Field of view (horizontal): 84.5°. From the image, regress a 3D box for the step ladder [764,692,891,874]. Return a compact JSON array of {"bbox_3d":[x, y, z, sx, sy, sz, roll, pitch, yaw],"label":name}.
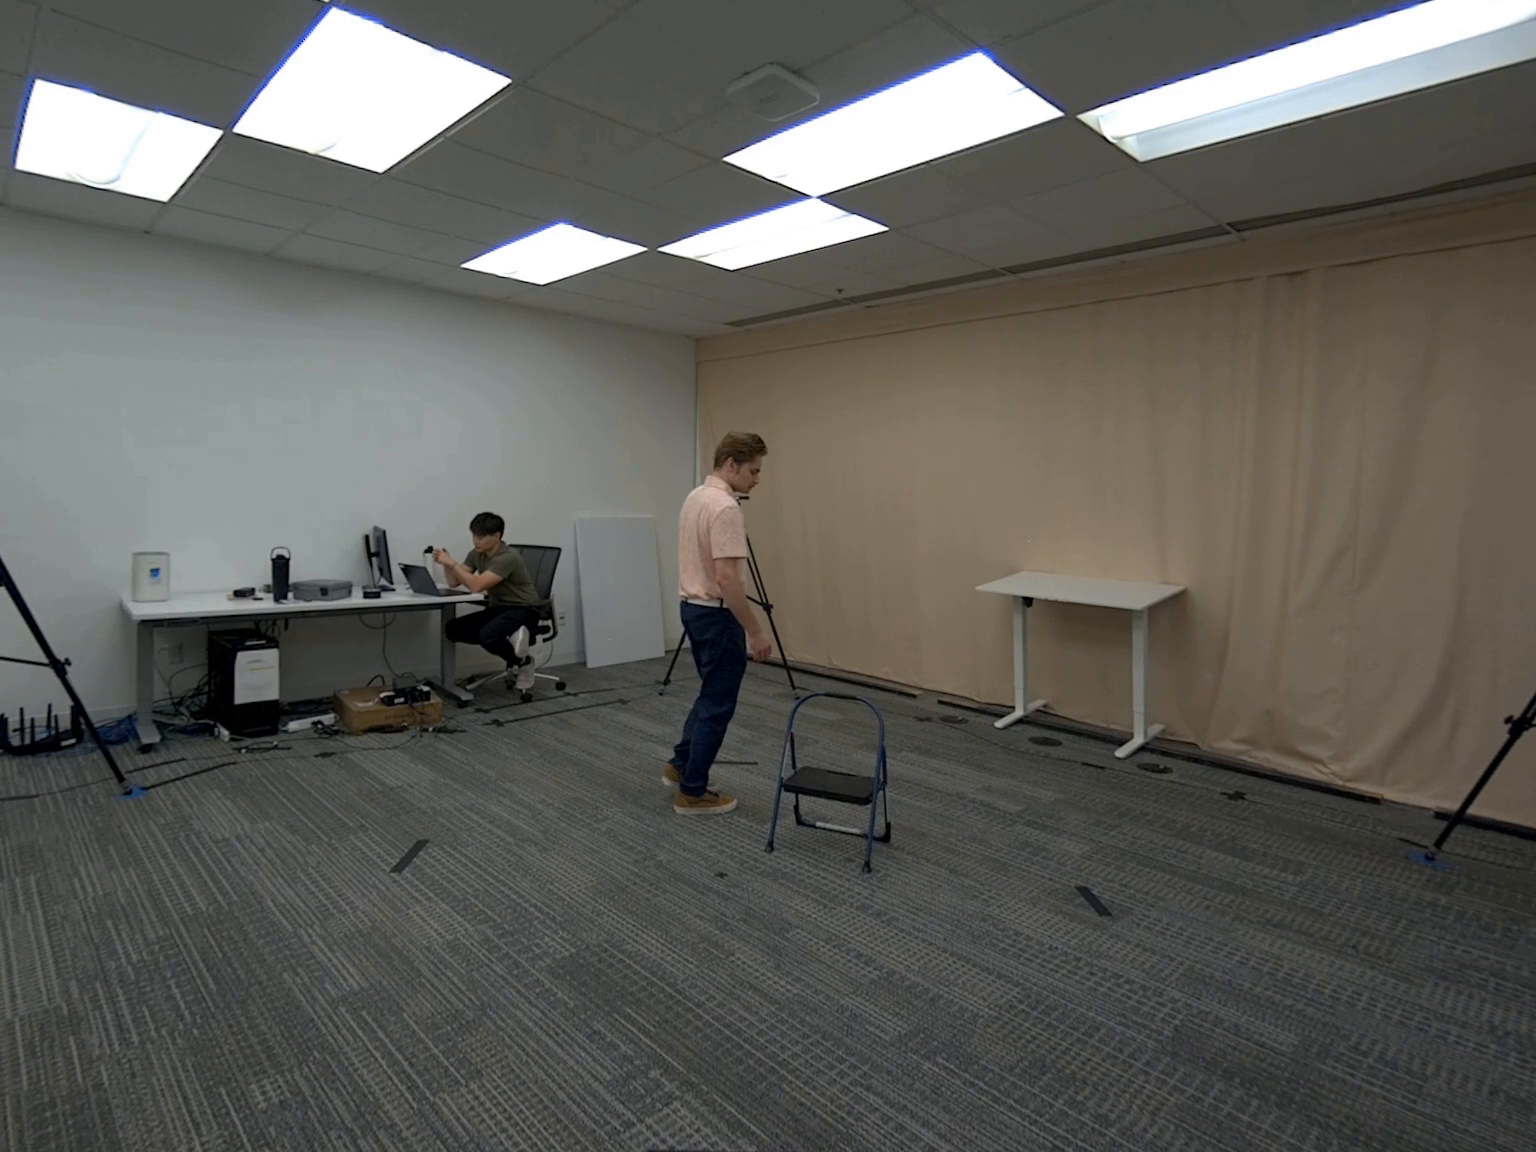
[{"bbox_3d":[0.253,0.786,3.376,0.439,0.604,0.343,3,4,24],"label":"step ladder"}]
